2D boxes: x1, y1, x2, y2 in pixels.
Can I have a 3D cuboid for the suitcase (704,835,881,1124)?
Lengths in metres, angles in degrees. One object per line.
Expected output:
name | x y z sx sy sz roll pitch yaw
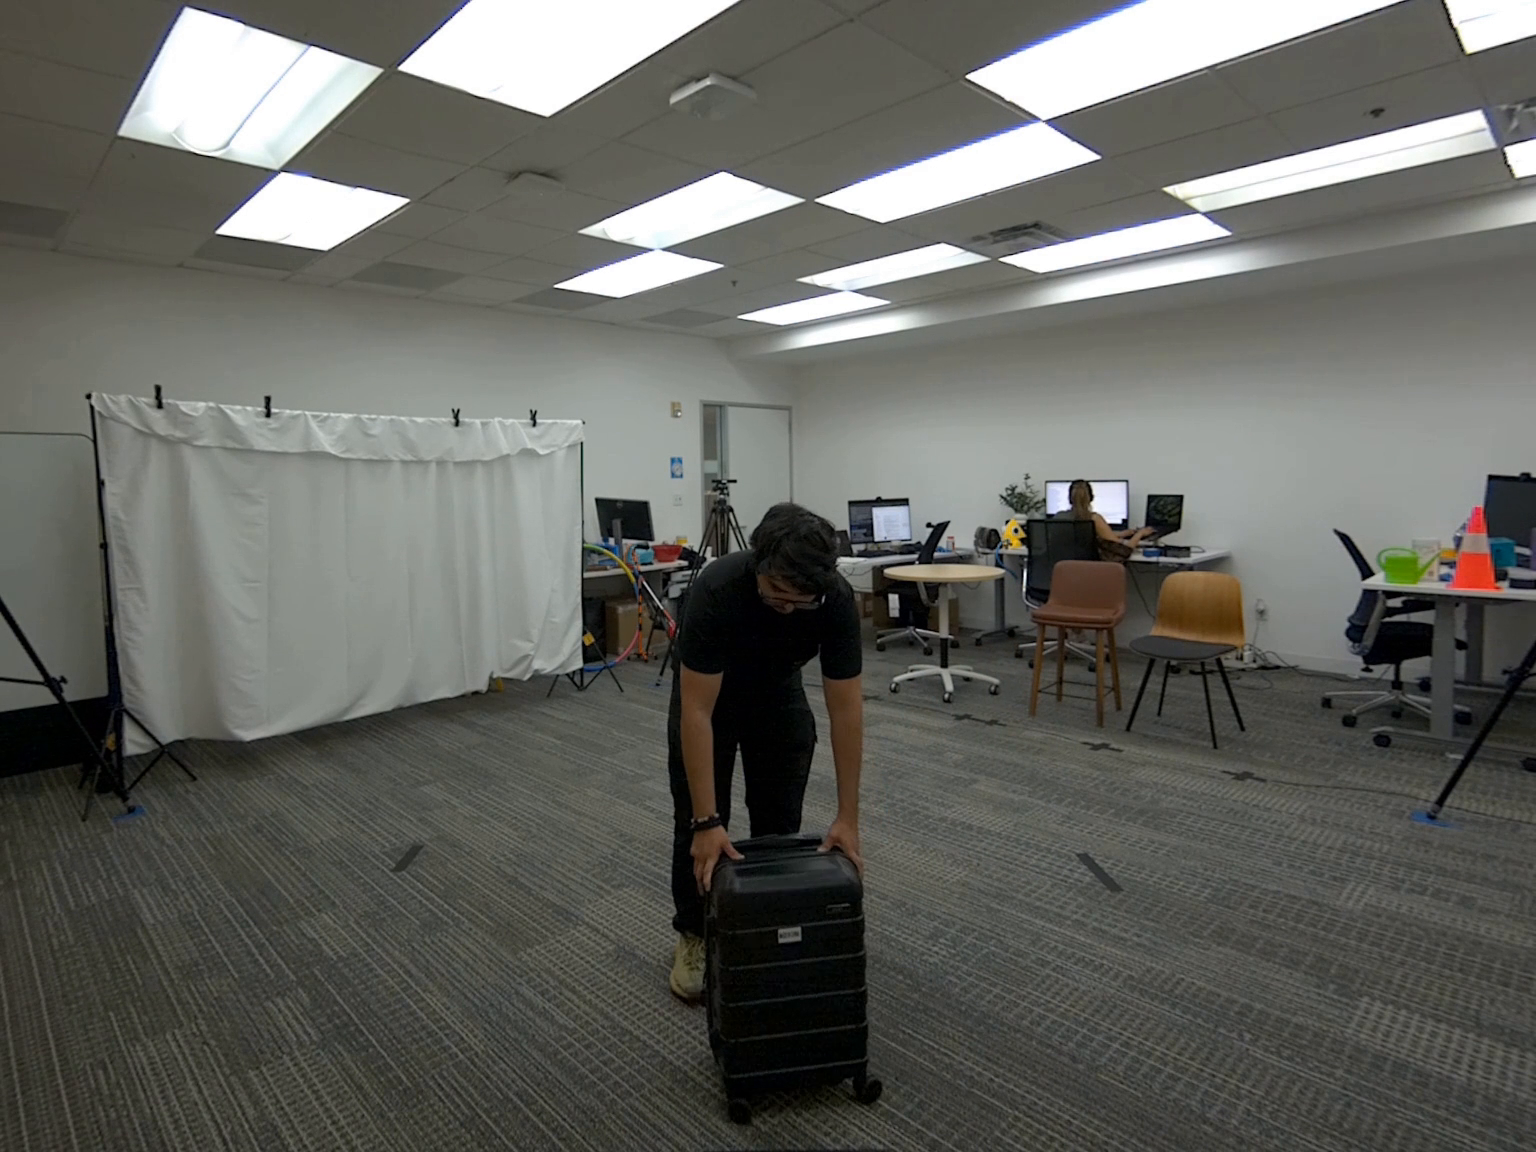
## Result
suitcase | 0.054 0.906 1.987 0.372 0.547 0.252 -2 5 -10
